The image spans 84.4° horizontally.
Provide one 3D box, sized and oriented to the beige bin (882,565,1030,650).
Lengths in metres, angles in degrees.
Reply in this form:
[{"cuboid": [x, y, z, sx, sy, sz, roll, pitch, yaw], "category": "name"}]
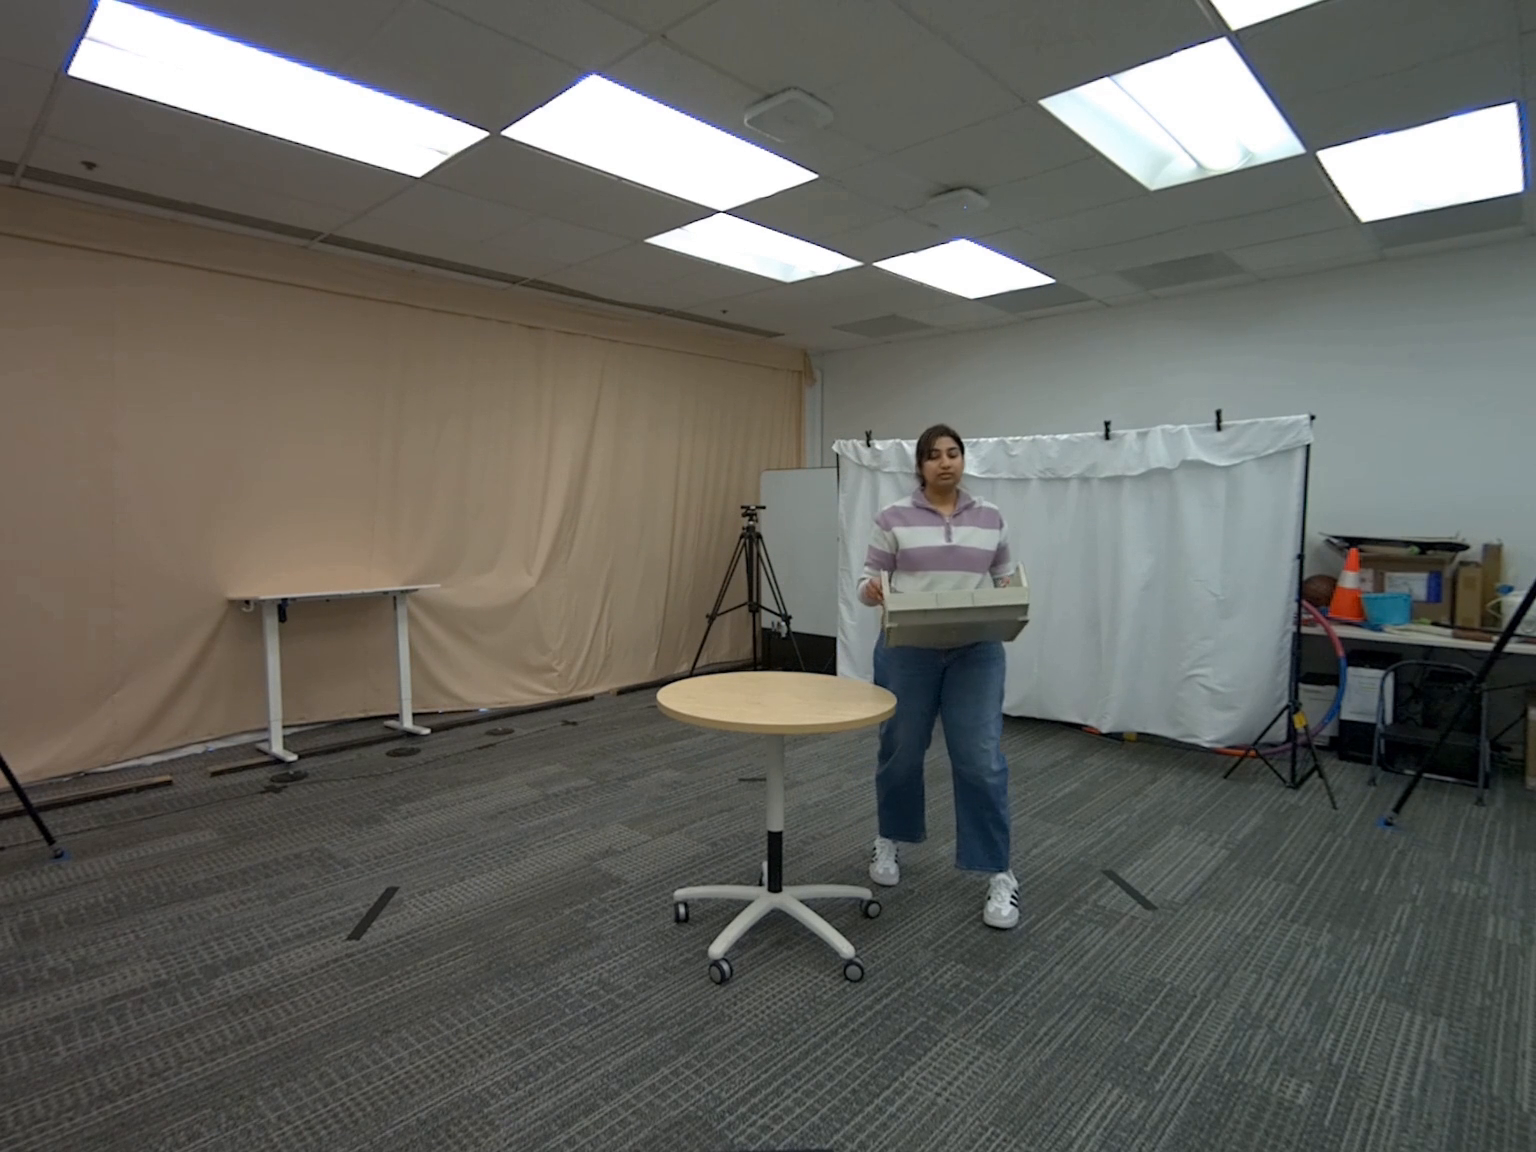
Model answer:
[{"cuboid": [0.572, 0.095, 2.643, 0.425, 0.191, 0.371, -3, -17, 6], "category": "beige bin"}]
